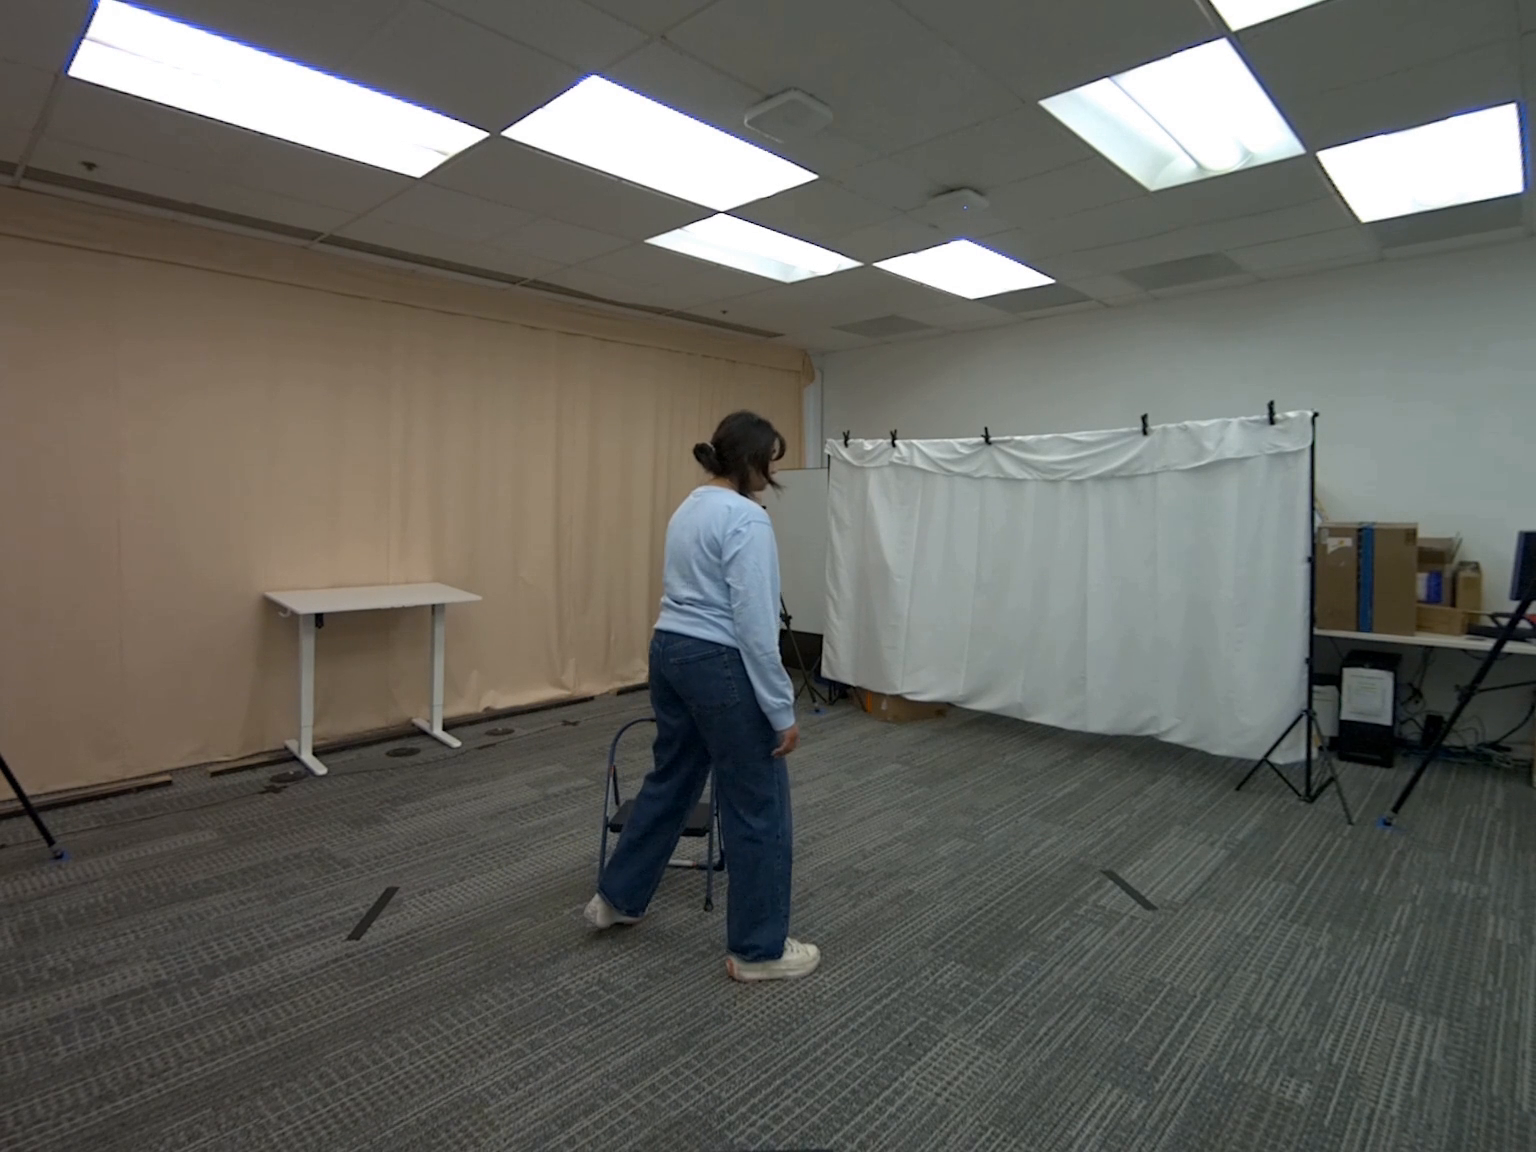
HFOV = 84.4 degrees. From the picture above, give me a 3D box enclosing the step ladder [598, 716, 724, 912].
[{"bbox_3d":[-0.391,0.838,3.086,0.435,0.604,0.347,0,4,8],"label":"step ladder"}]
